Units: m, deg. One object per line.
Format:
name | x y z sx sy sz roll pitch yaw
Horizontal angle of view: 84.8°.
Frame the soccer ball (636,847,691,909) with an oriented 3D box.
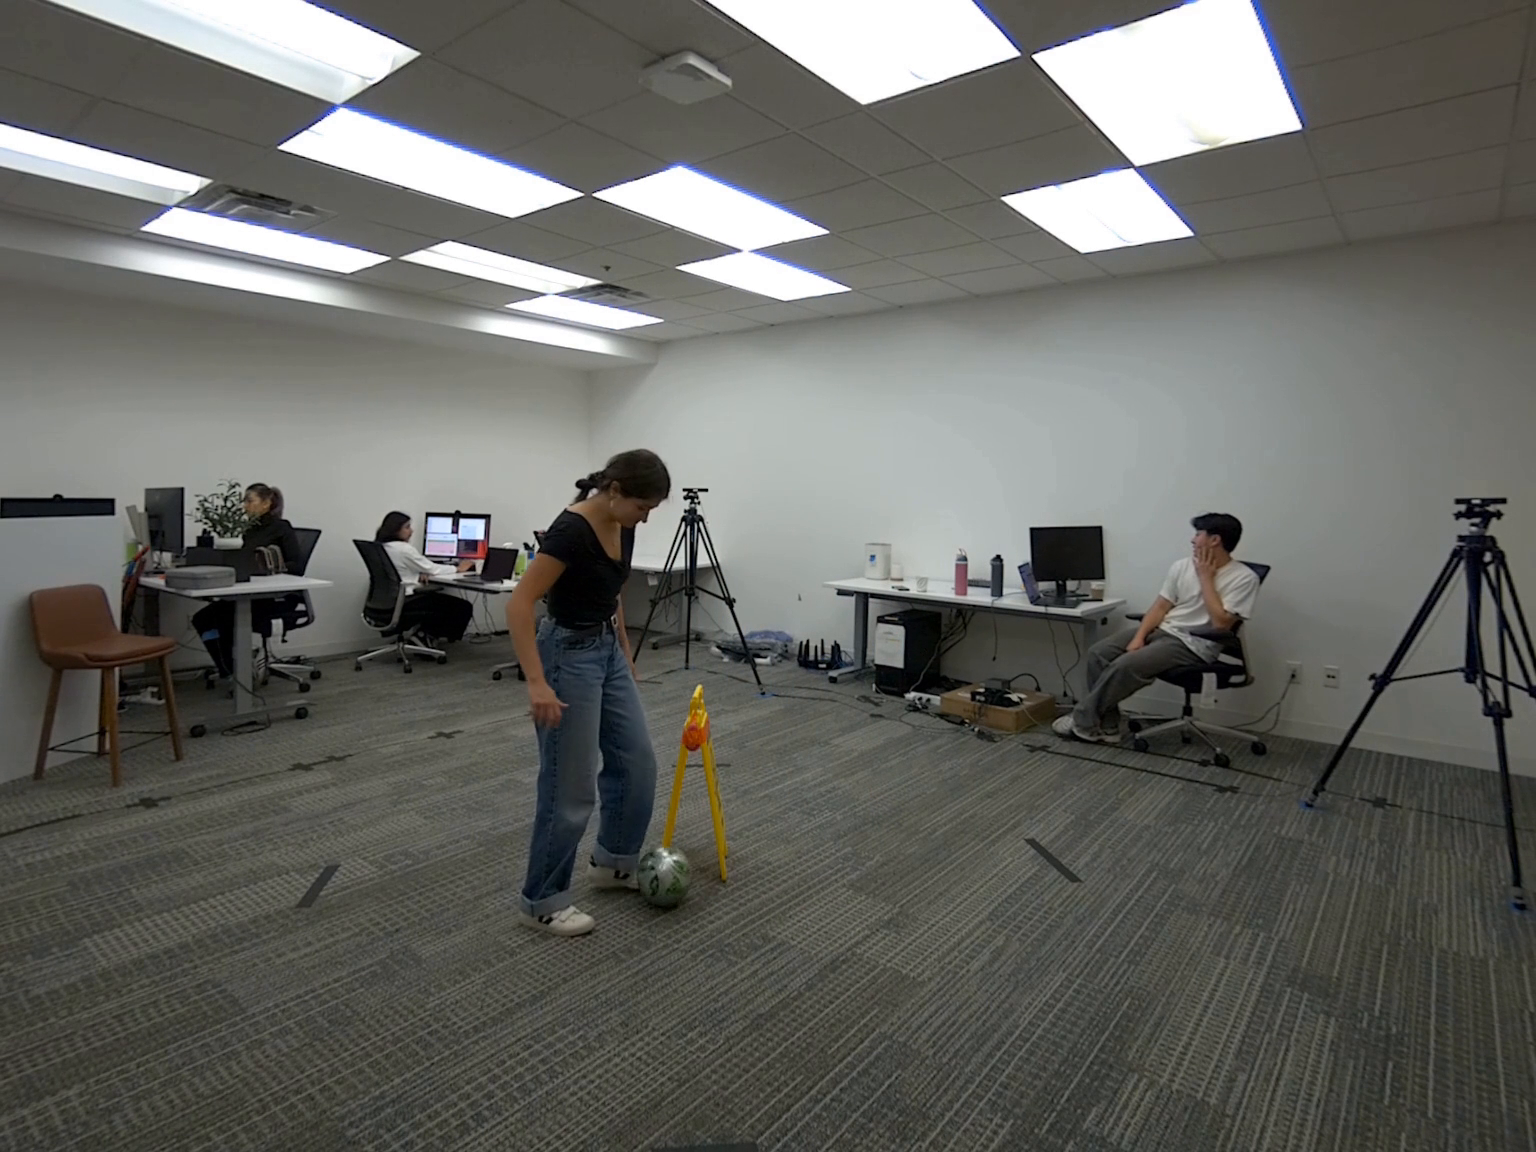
soccer ball | -0.348 0.999 2.823 0.187 0.187 0.188 1 4 -2
